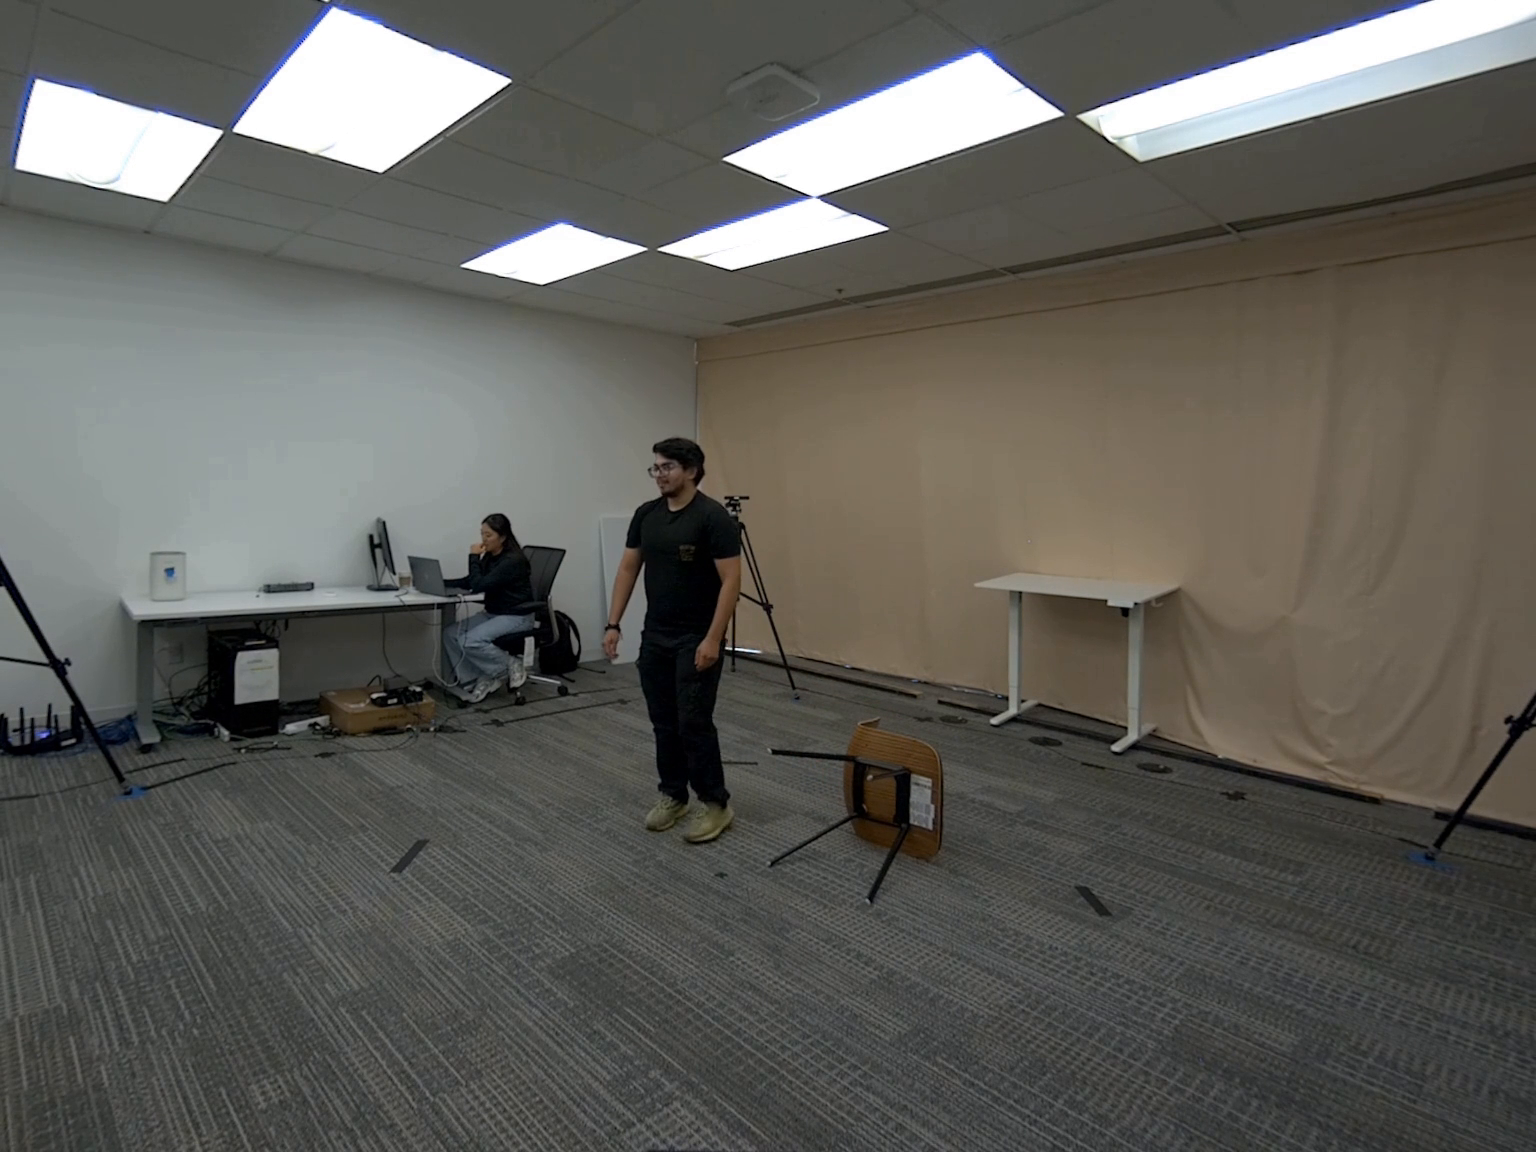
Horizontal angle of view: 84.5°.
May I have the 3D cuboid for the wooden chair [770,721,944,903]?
[{"bbox_3d":[0.438,0.865,3.345,0.536,0.477,0.859,4,5,35],"label":"wooden chair"}]
